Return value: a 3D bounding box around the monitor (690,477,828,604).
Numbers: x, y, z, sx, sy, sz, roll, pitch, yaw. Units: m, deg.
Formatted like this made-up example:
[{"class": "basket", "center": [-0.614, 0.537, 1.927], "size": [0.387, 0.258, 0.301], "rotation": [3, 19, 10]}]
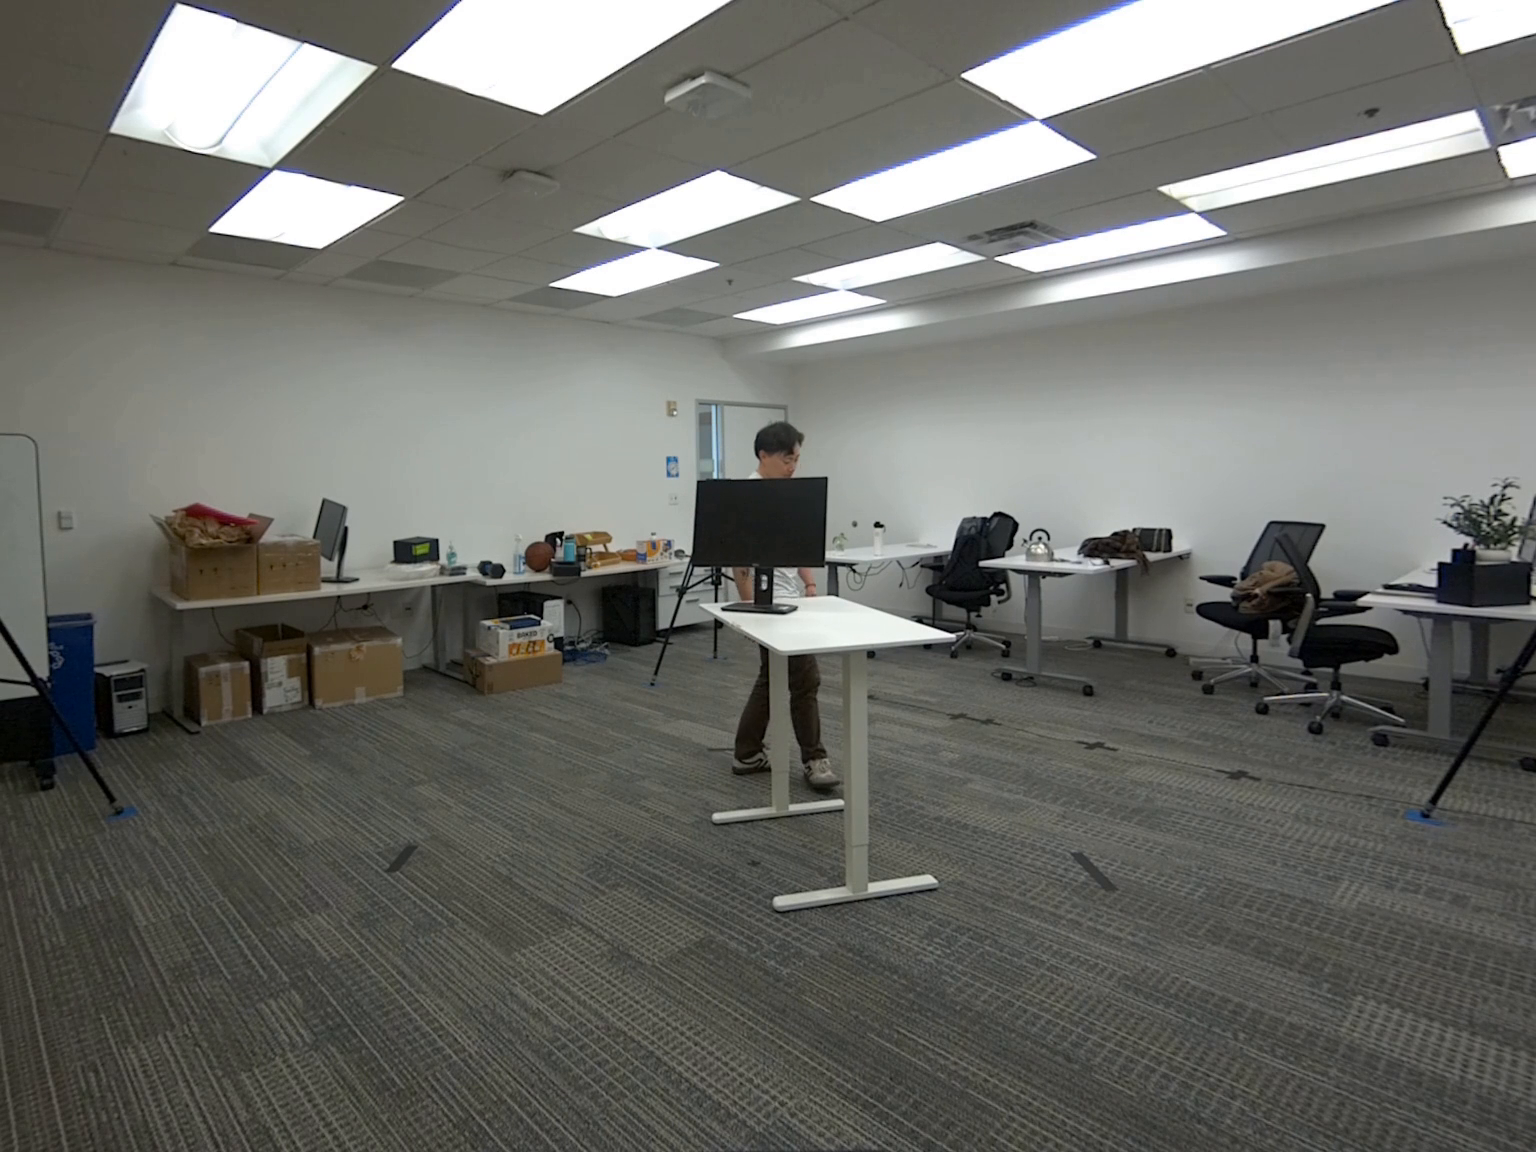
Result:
[{"class": "monitor", "center": [-0.028, -0.118, 3.355], "size": [0.549, 0.521, 0.184], "rotation": [1, 3, 18]}]
